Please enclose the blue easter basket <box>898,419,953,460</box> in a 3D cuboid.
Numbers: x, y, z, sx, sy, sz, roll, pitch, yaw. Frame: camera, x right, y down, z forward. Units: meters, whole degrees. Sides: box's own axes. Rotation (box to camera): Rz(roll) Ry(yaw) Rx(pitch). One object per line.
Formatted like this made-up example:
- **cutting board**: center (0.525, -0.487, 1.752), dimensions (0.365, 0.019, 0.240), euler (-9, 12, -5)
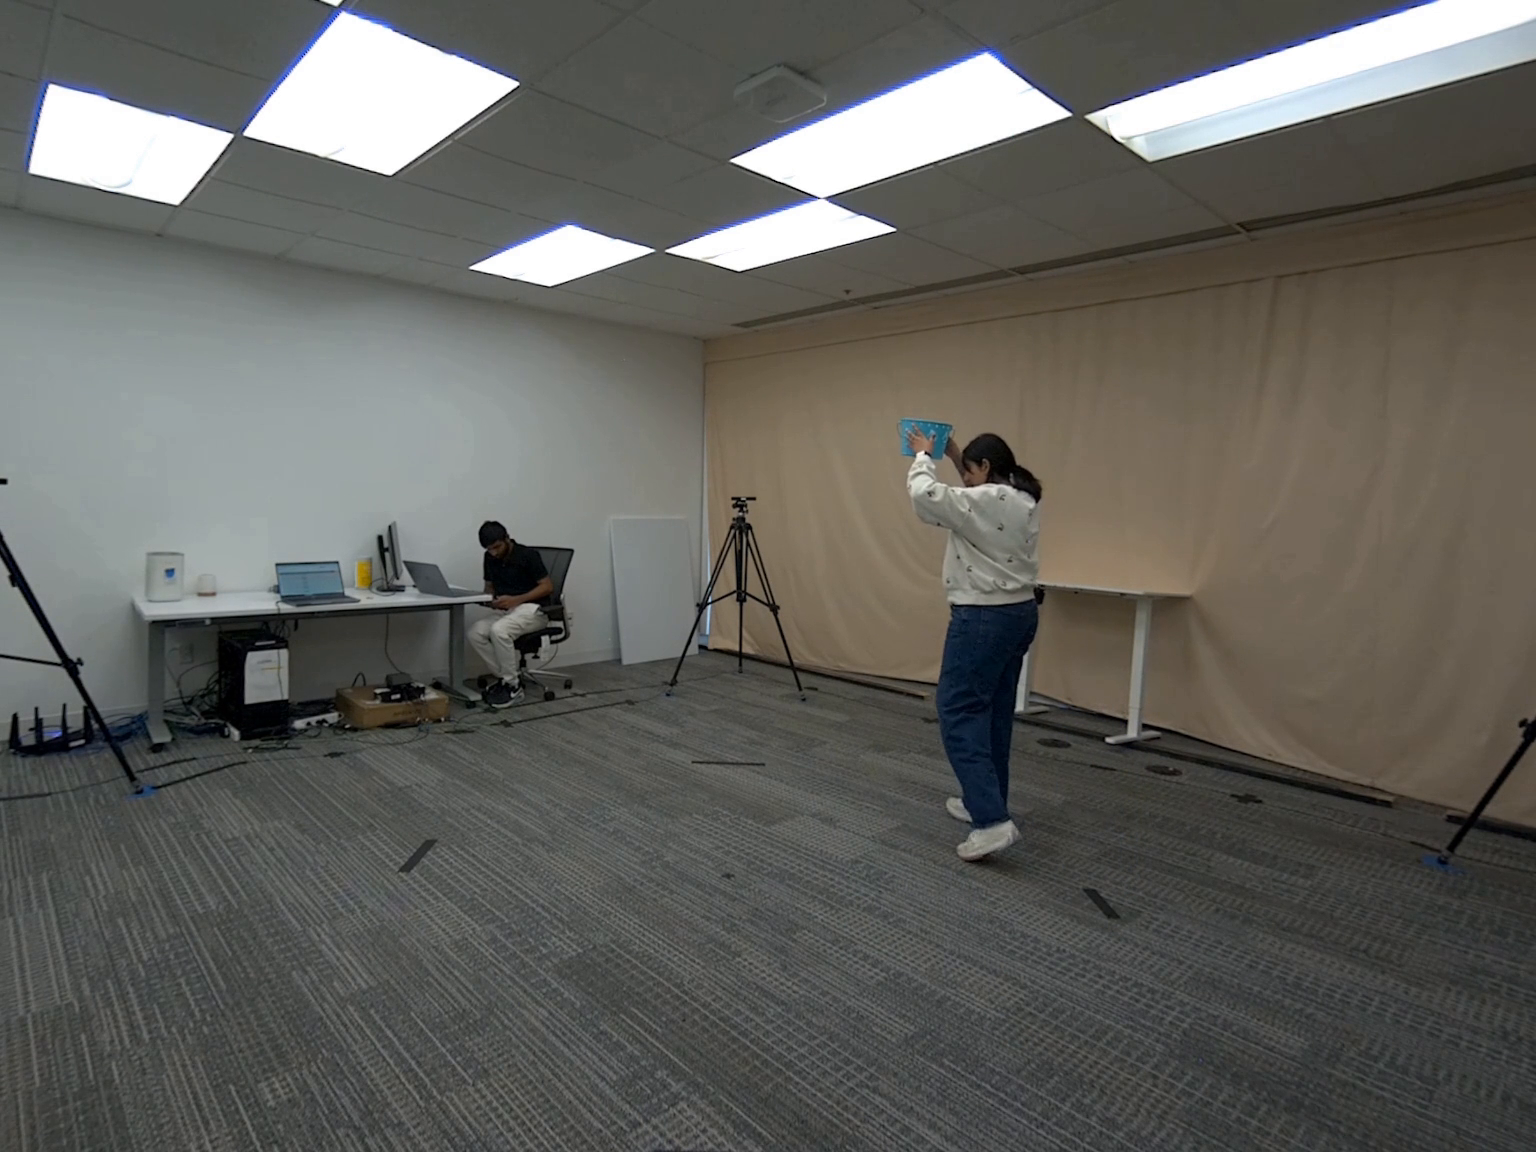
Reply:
- **blue easter basket**: center (0.692, -0.605, 3.728), dimensions (0.243, 0.155, 0.245), euler (7, 6, -2)
